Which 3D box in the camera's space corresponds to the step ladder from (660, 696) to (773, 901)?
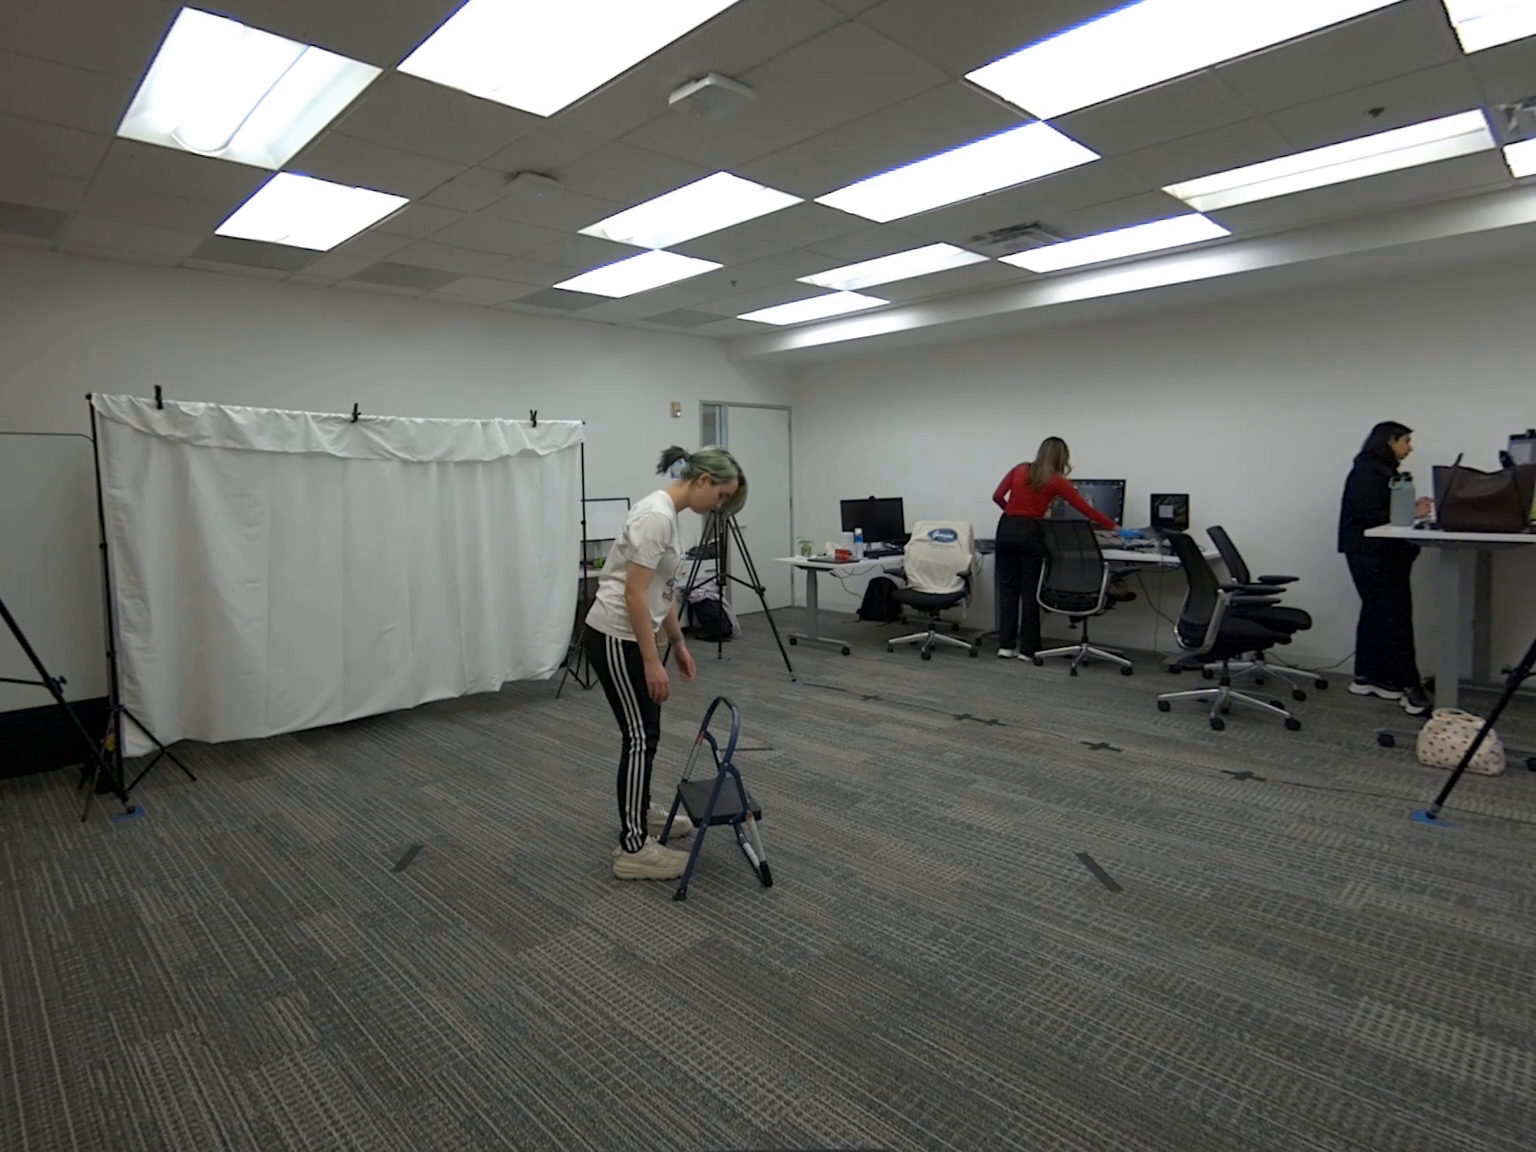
[{"bbox_3d":[-0.204,0.756,3.066,0.345,0.604,0.438,-1,4,-15],"label":"step ladder"}]
